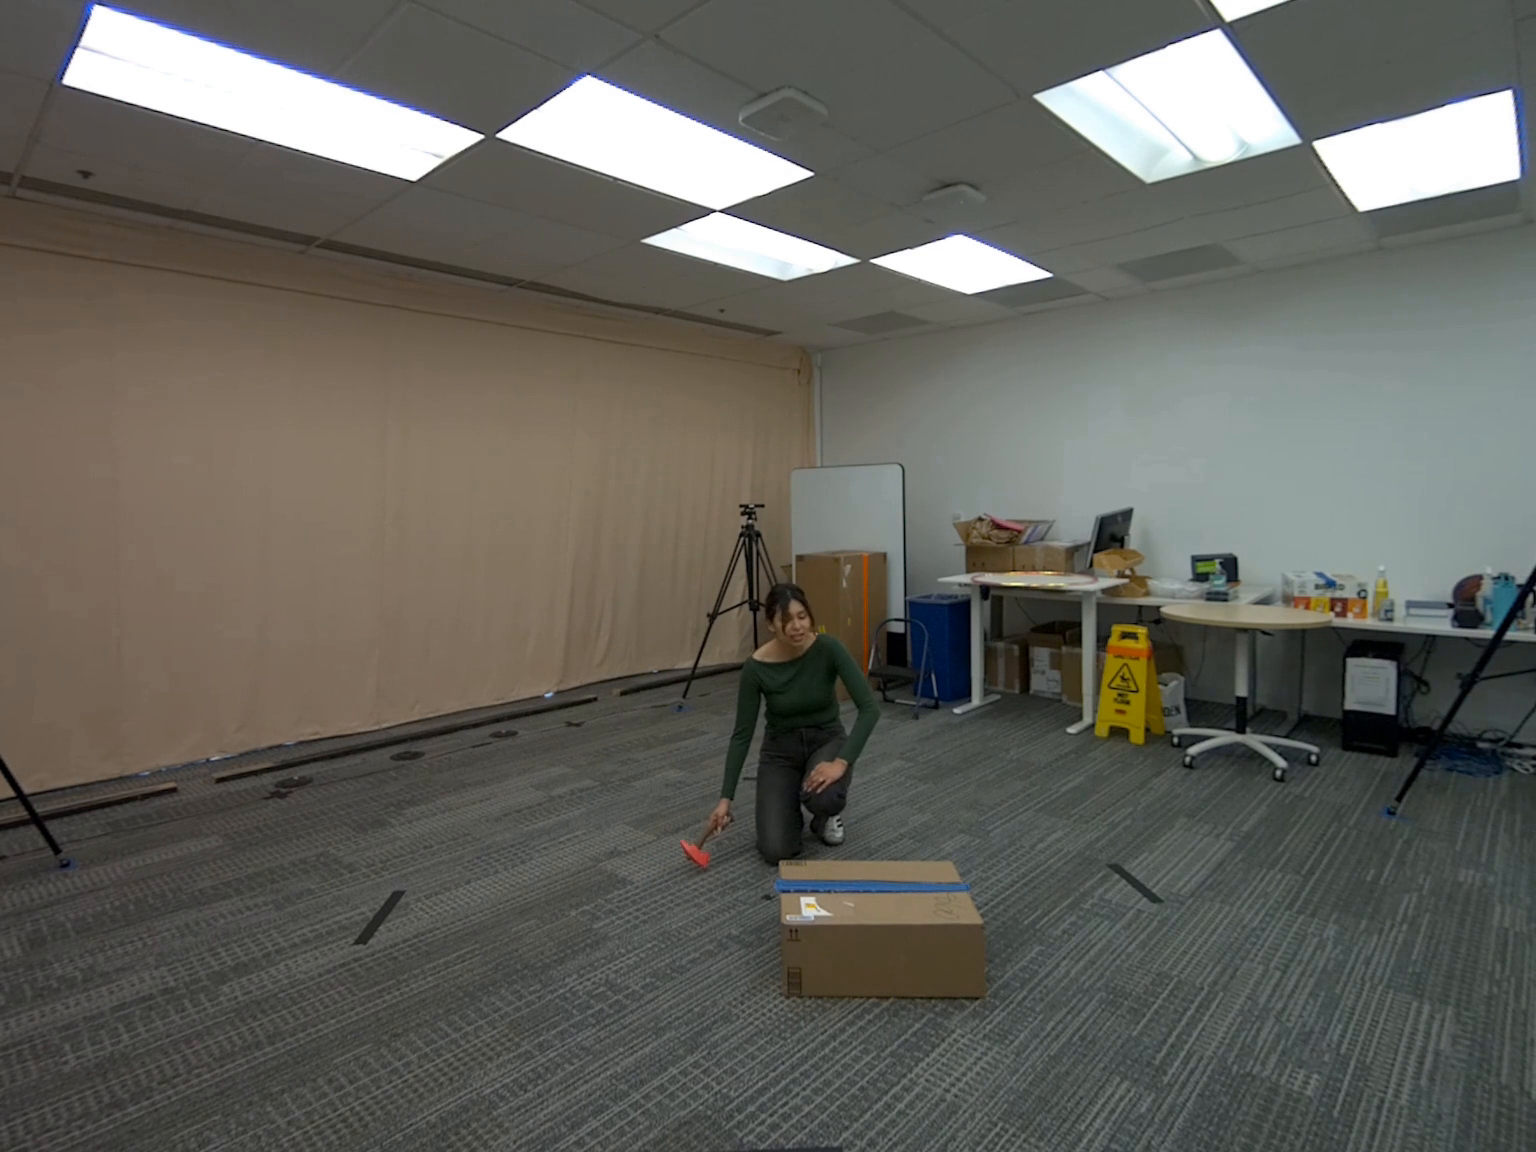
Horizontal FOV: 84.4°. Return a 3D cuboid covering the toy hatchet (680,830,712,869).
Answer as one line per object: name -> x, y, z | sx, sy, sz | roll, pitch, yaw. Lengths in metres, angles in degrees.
toy hatchet -> -0.205, 1.034, 3.254 | 0.263, 0.134, 0.029 | -15, -27, -37
